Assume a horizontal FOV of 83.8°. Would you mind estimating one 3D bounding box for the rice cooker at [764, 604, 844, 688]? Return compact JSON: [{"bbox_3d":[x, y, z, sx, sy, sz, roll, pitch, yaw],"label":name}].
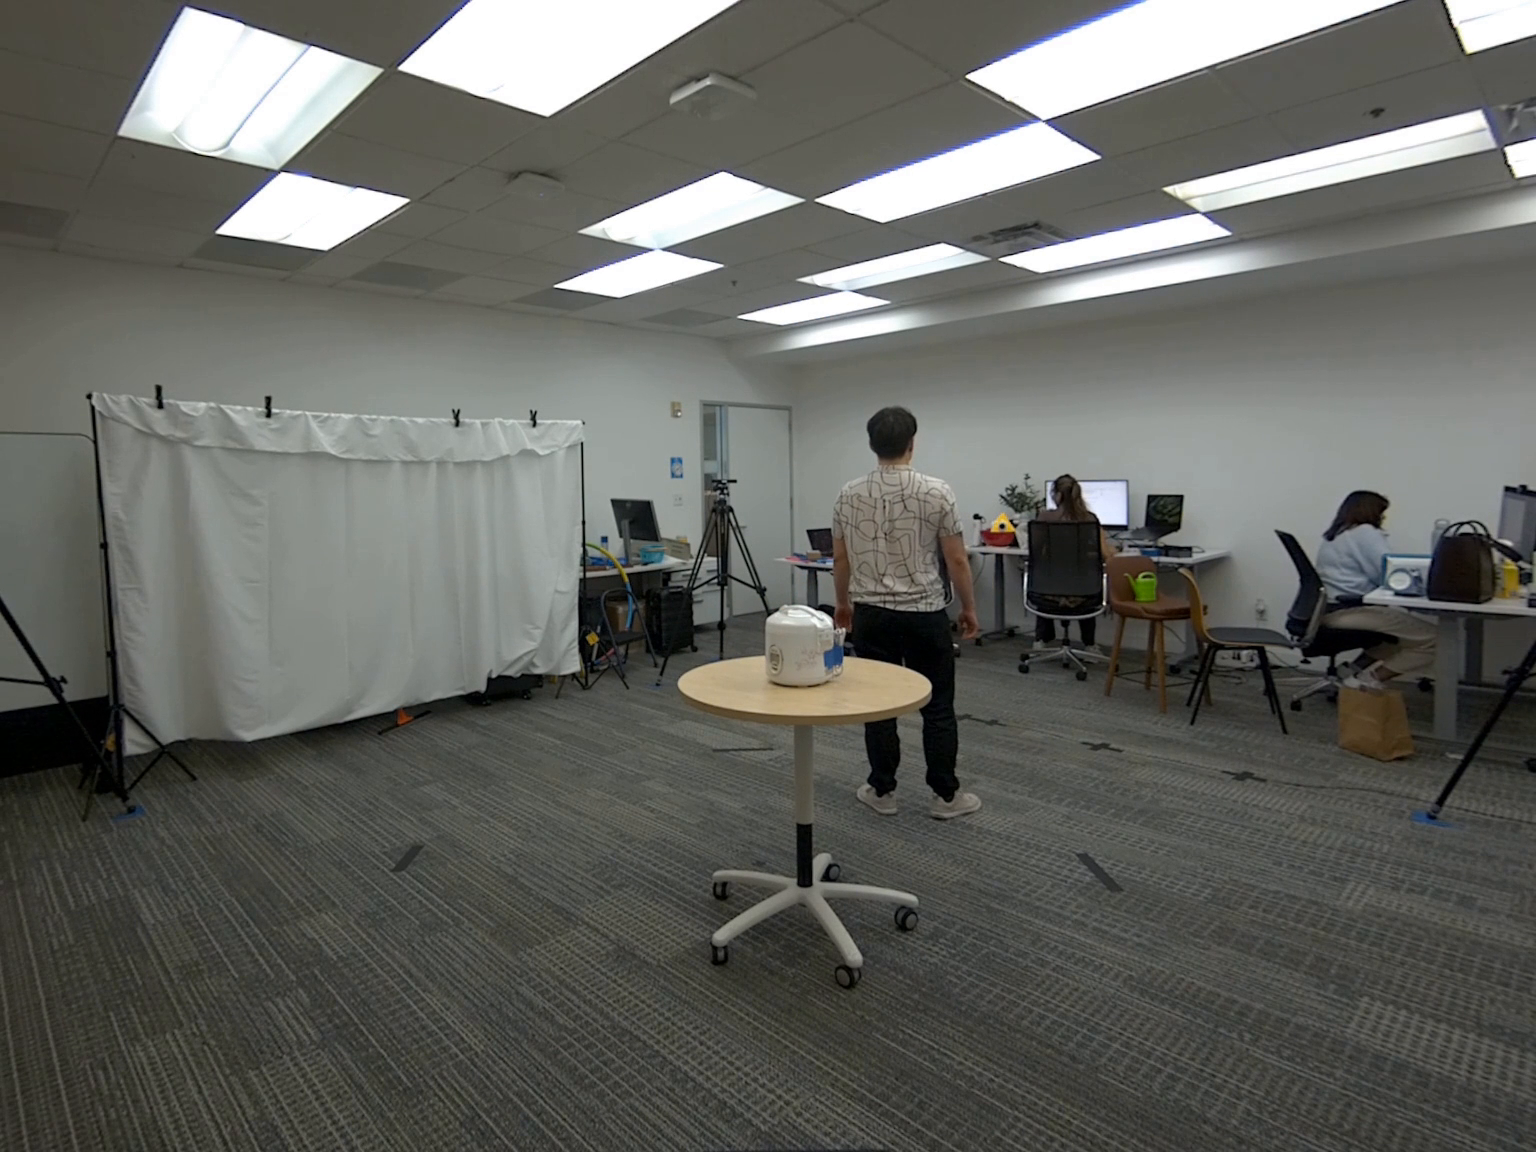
[{"bbox_3d":[0.099,0.204,2.600,0.211,0.232,0.227,-4,5,-43],"label":"rice cooker"}]
